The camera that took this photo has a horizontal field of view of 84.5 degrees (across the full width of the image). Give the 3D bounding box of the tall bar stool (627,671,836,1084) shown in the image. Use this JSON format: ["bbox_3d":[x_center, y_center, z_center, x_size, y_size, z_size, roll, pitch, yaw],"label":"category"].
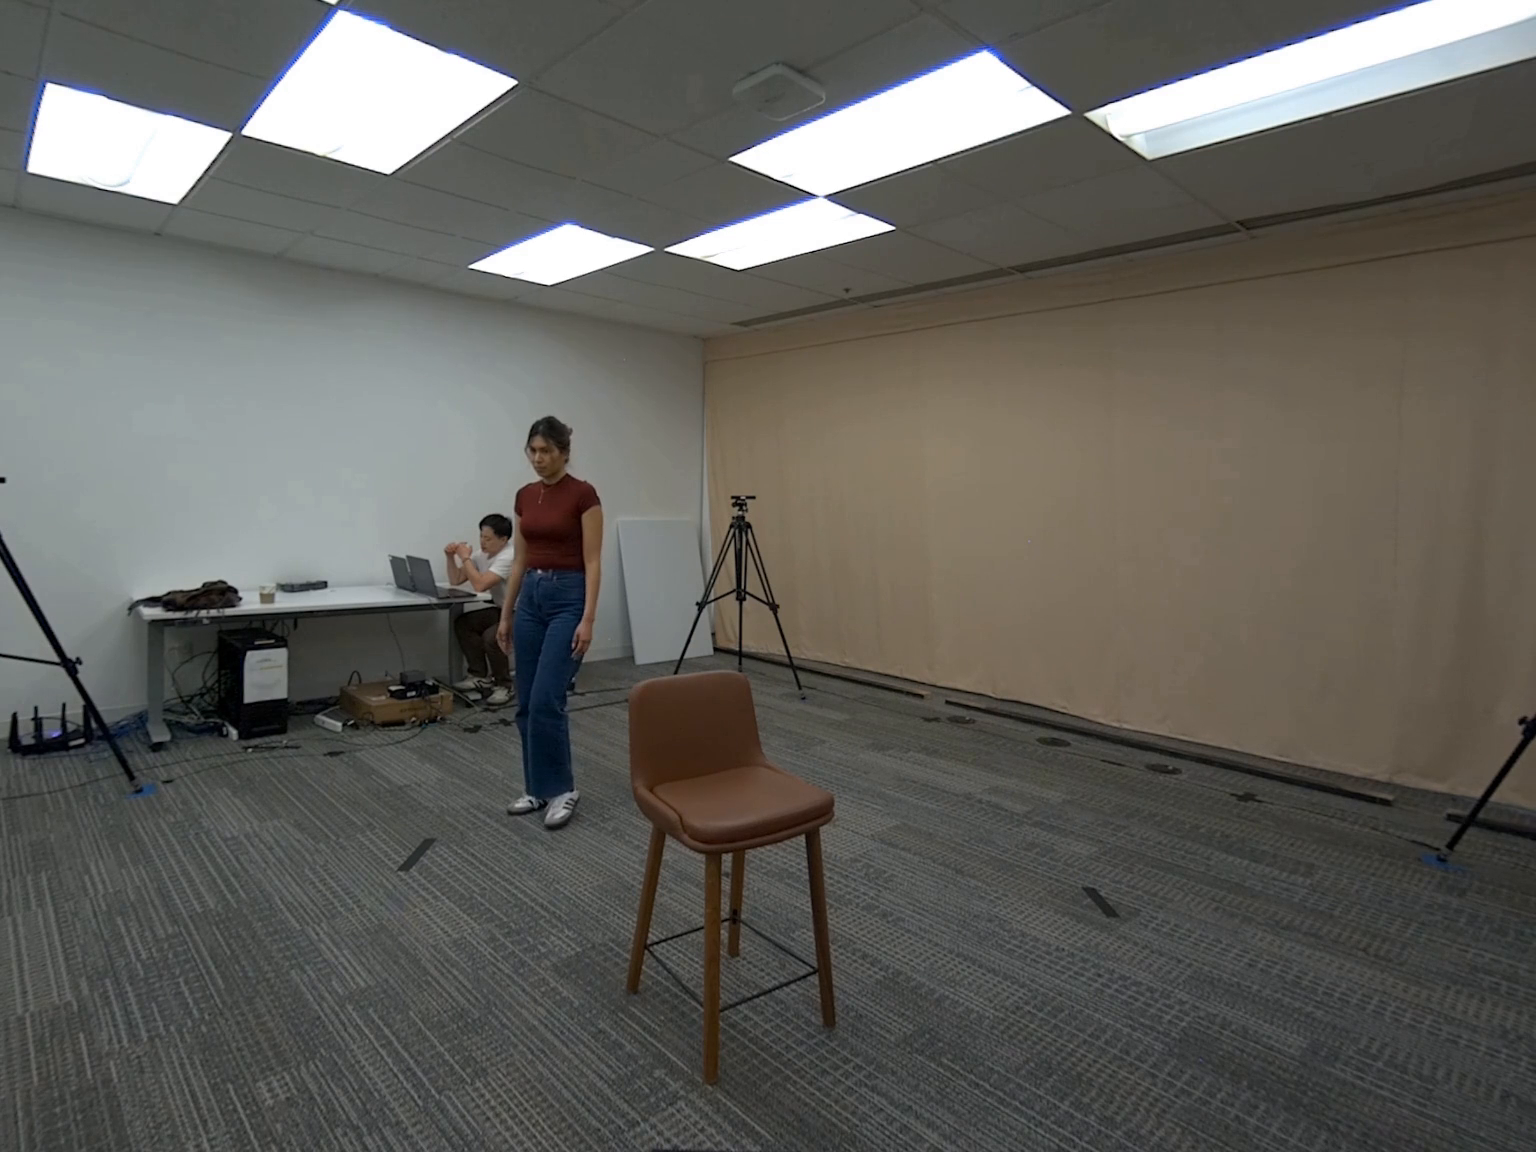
[{"bbox_3d":[-0.113,0.749,2.264,0.446,0.888,0.479,-1,3,-36],"label":"tall bar stool"}]
